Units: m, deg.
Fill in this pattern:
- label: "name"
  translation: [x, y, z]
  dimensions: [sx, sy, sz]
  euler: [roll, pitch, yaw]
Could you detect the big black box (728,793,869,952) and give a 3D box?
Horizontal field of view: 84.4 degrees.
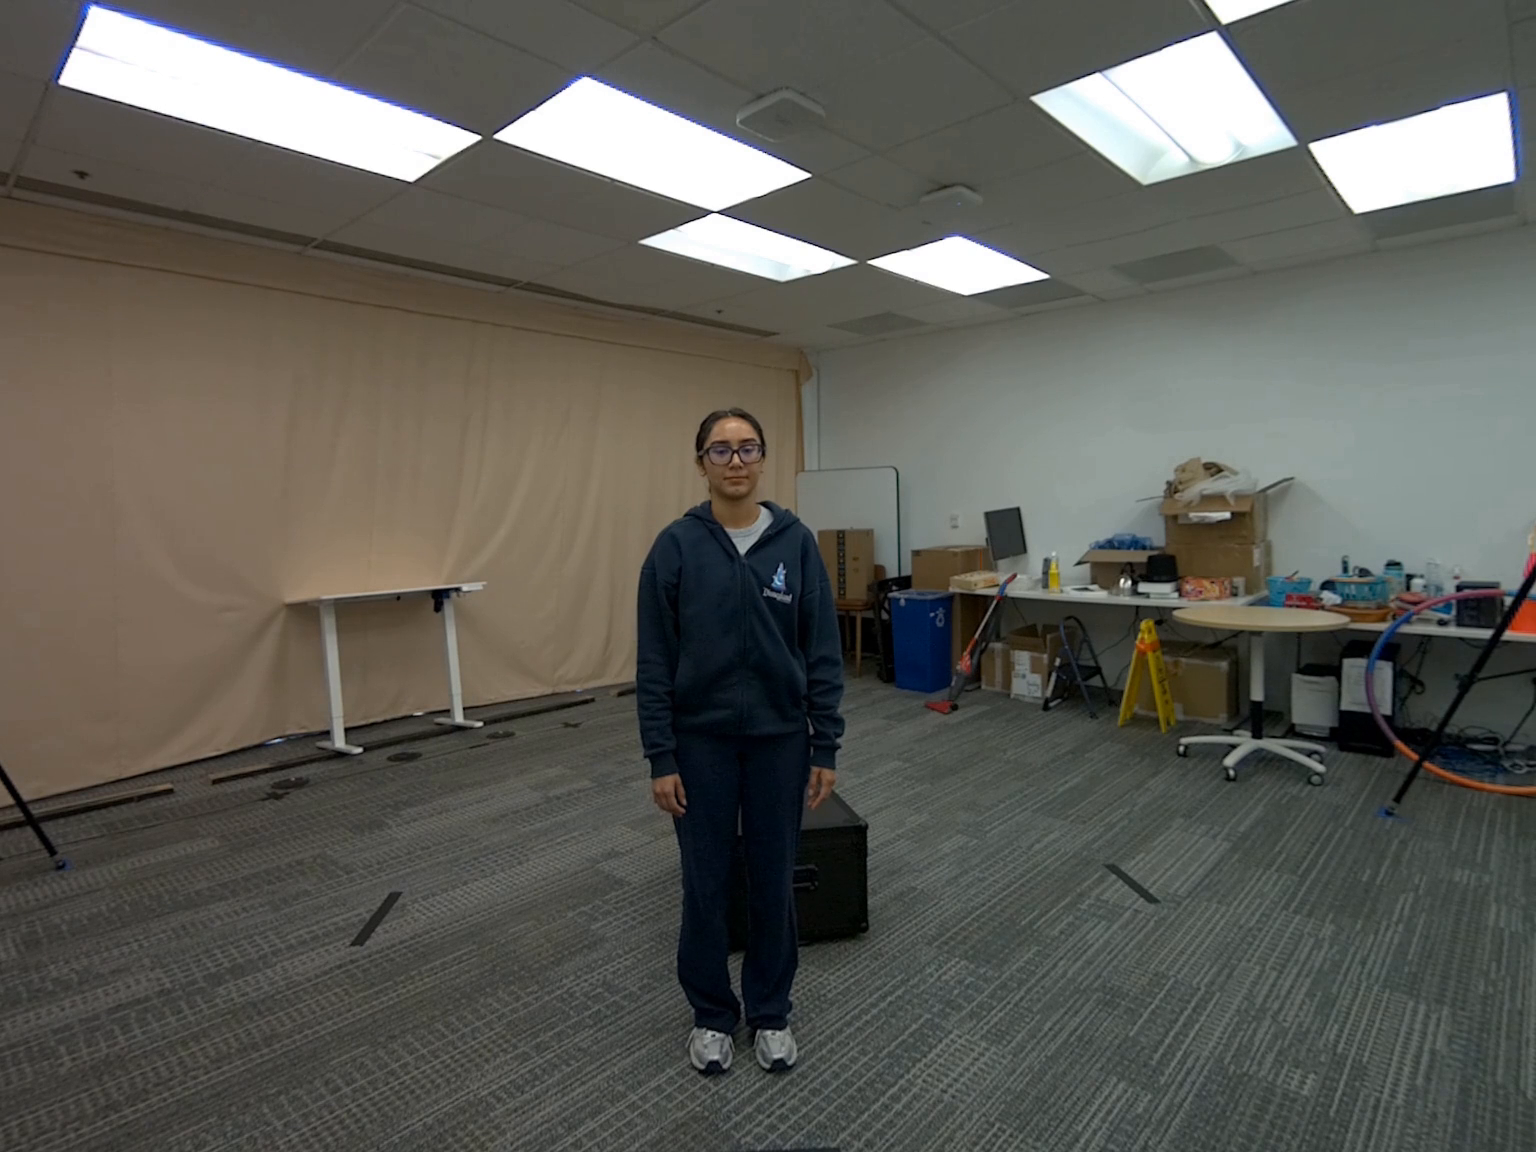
- label: "big black box"
  translation: [-0.013, 0.944, 3.044]
  dimensions: [0.514, 0.395, 0.875]
  euler: [-2, 5, -14]
